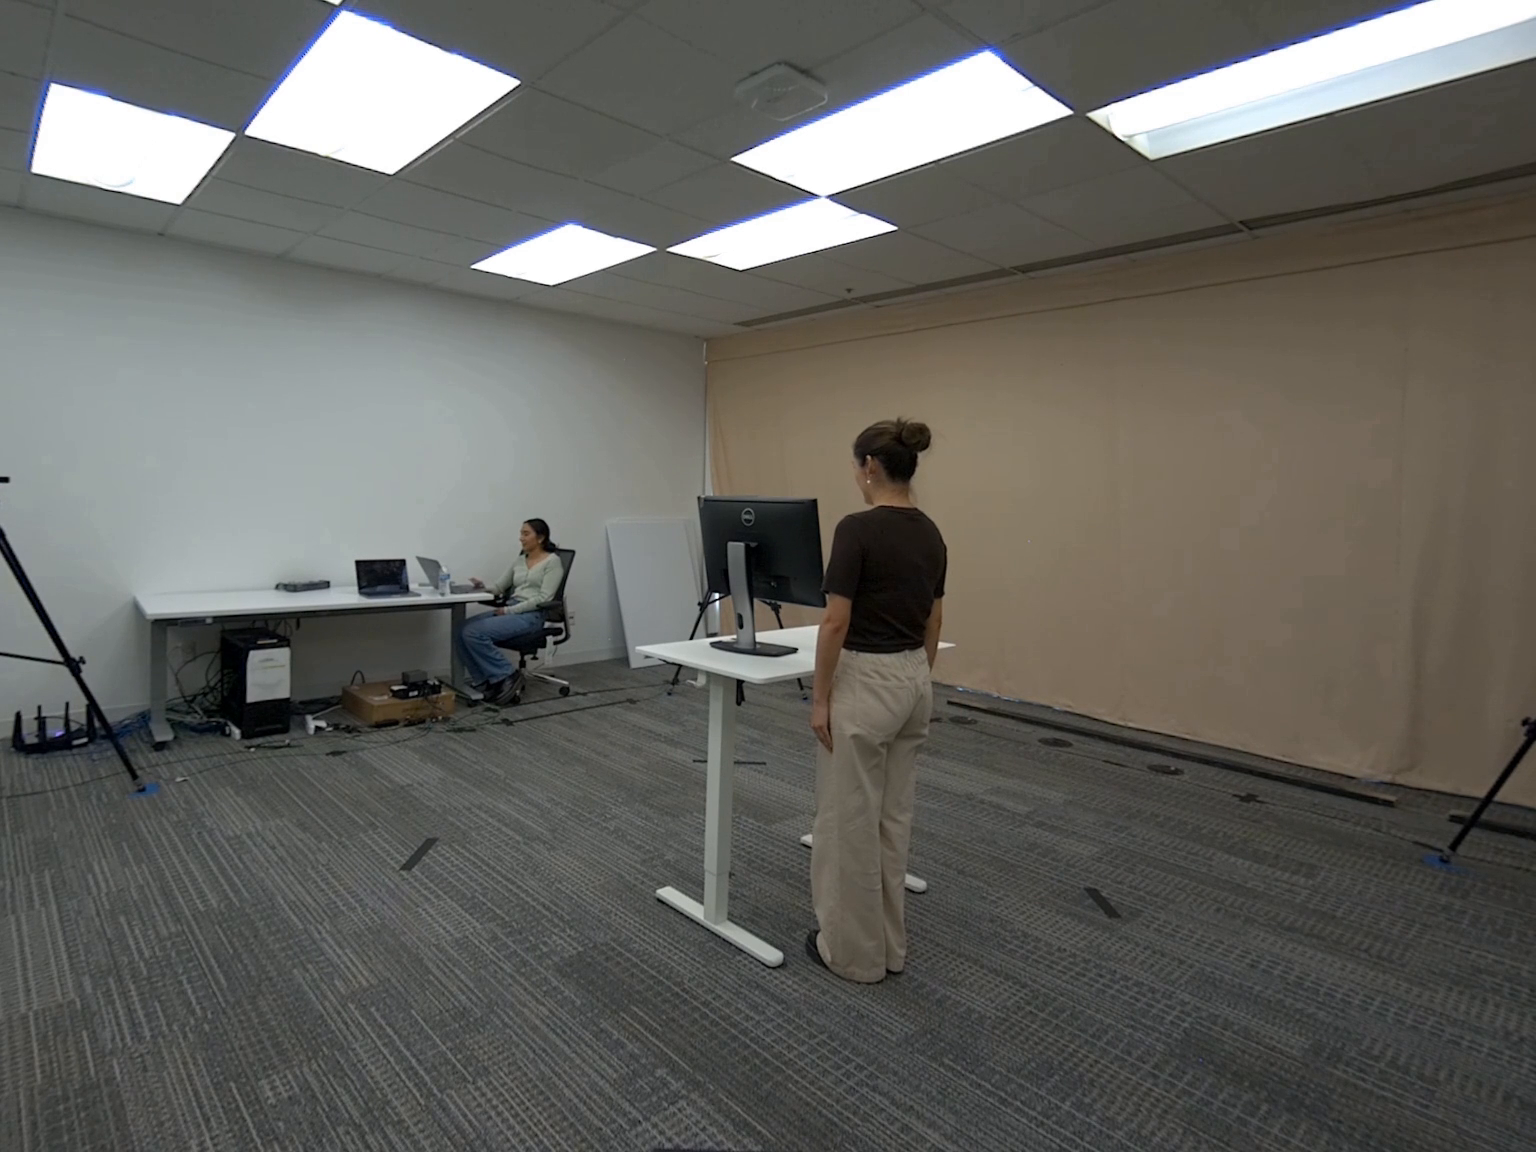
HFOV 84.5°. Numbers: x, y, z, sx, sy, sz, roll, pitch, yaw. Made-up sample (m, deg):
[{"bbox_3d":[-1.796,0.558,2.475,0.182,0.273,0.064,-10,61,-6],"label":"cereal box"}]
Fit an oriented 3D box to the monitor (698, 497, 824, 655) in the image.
[{"bbox_3d":[-0.056,-0.002,2.799,0.553,0.521,0.183,5,4,44],"label":"monitor"}]
